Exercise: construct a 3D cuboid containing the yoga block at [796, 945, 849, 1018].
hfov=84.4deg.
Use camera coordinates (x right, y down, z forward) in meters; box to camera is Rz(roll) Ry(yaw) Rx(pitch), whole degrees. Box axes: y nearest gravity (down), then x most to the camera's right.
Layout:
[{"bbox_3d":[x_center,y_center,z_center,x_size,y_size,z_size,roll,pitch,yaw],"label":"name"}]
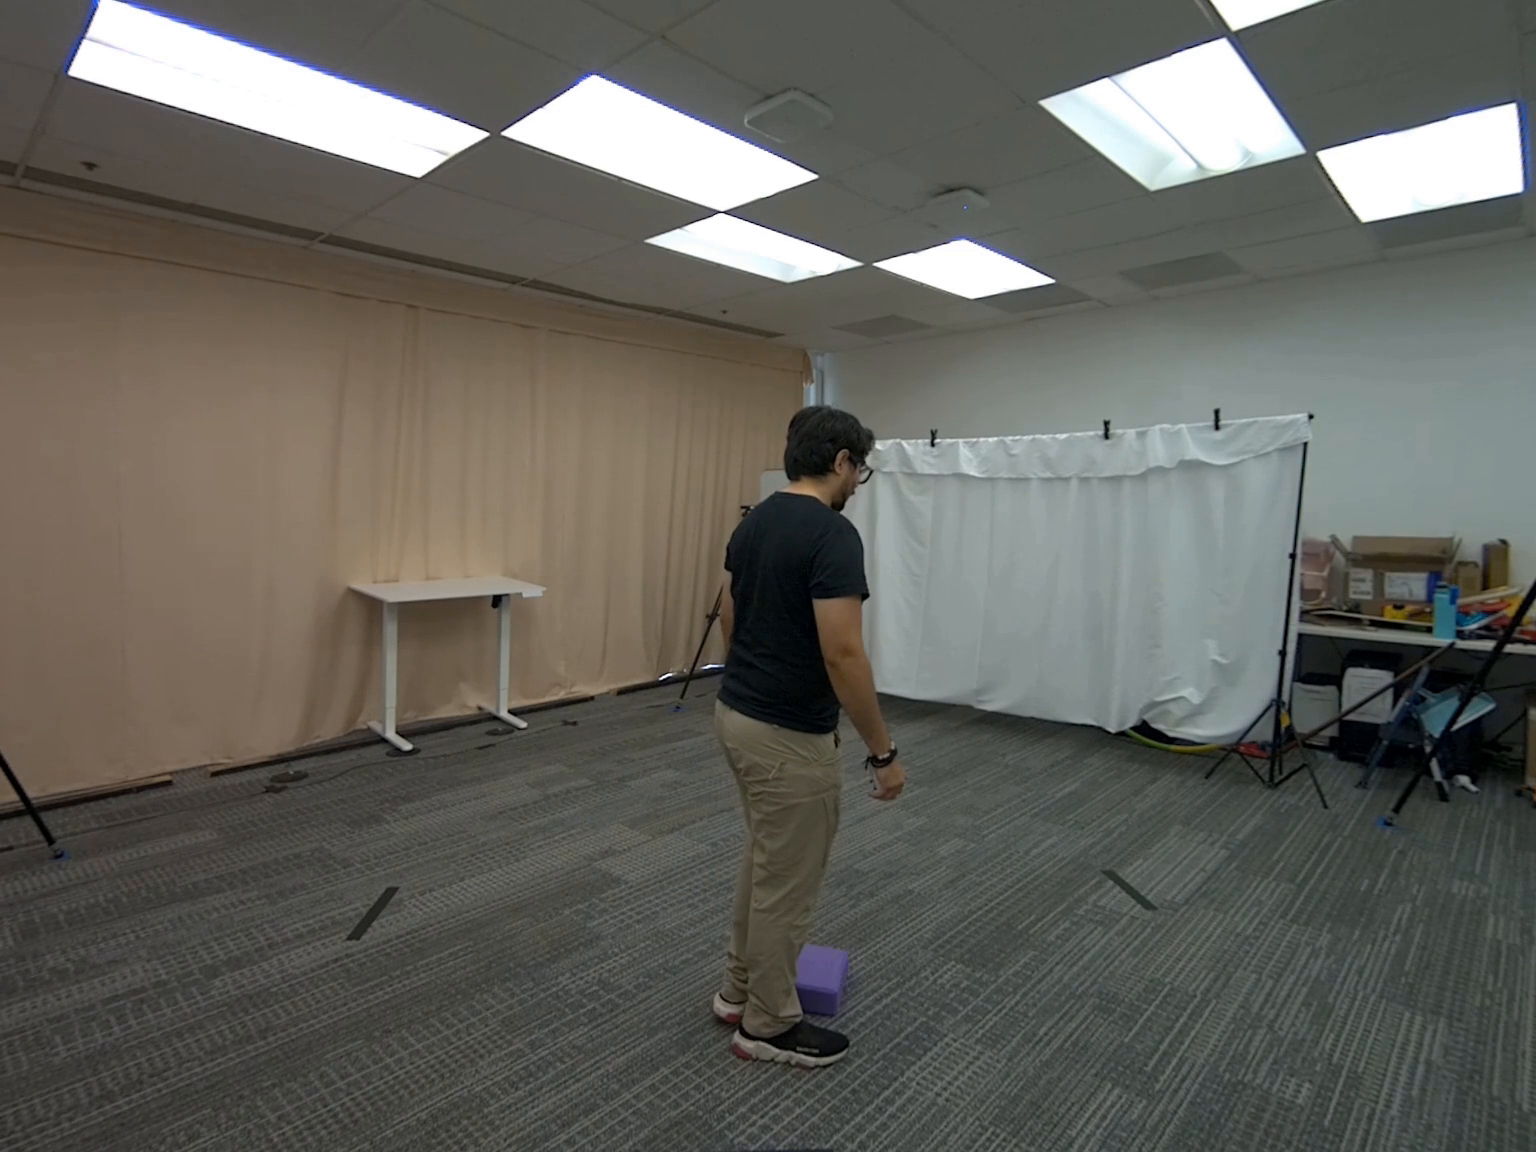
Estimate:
[{"bbox_3d":[0.152,1.153,2.405,0.151,0.076,0.226,2,4,15],"label":"yoga block"}]
